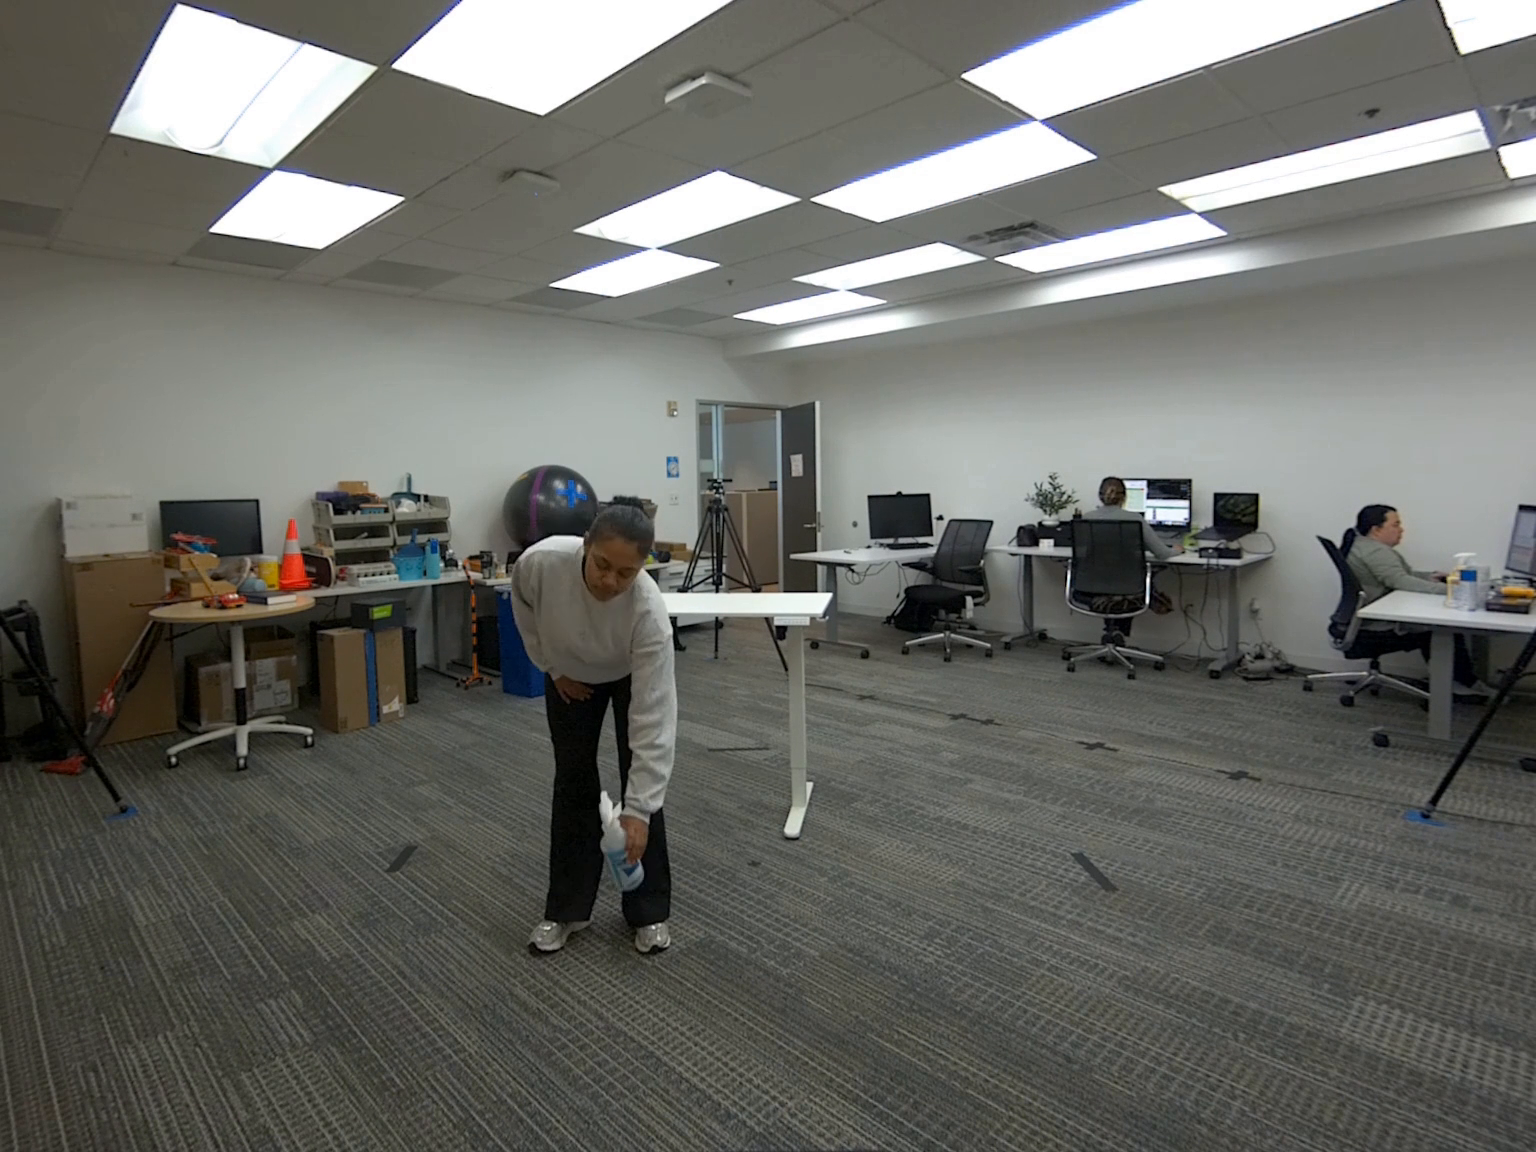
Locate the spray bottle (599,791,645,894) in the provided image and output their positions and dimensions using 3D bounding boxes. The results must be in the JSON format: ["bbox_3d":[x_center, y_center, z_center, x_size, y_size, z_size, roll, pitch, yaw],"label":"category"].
[{"bbox_3d":[-0.401,0.720,2.276,0.088,0.289,0.091,3,32,16],"label":"spray bottle"}]
